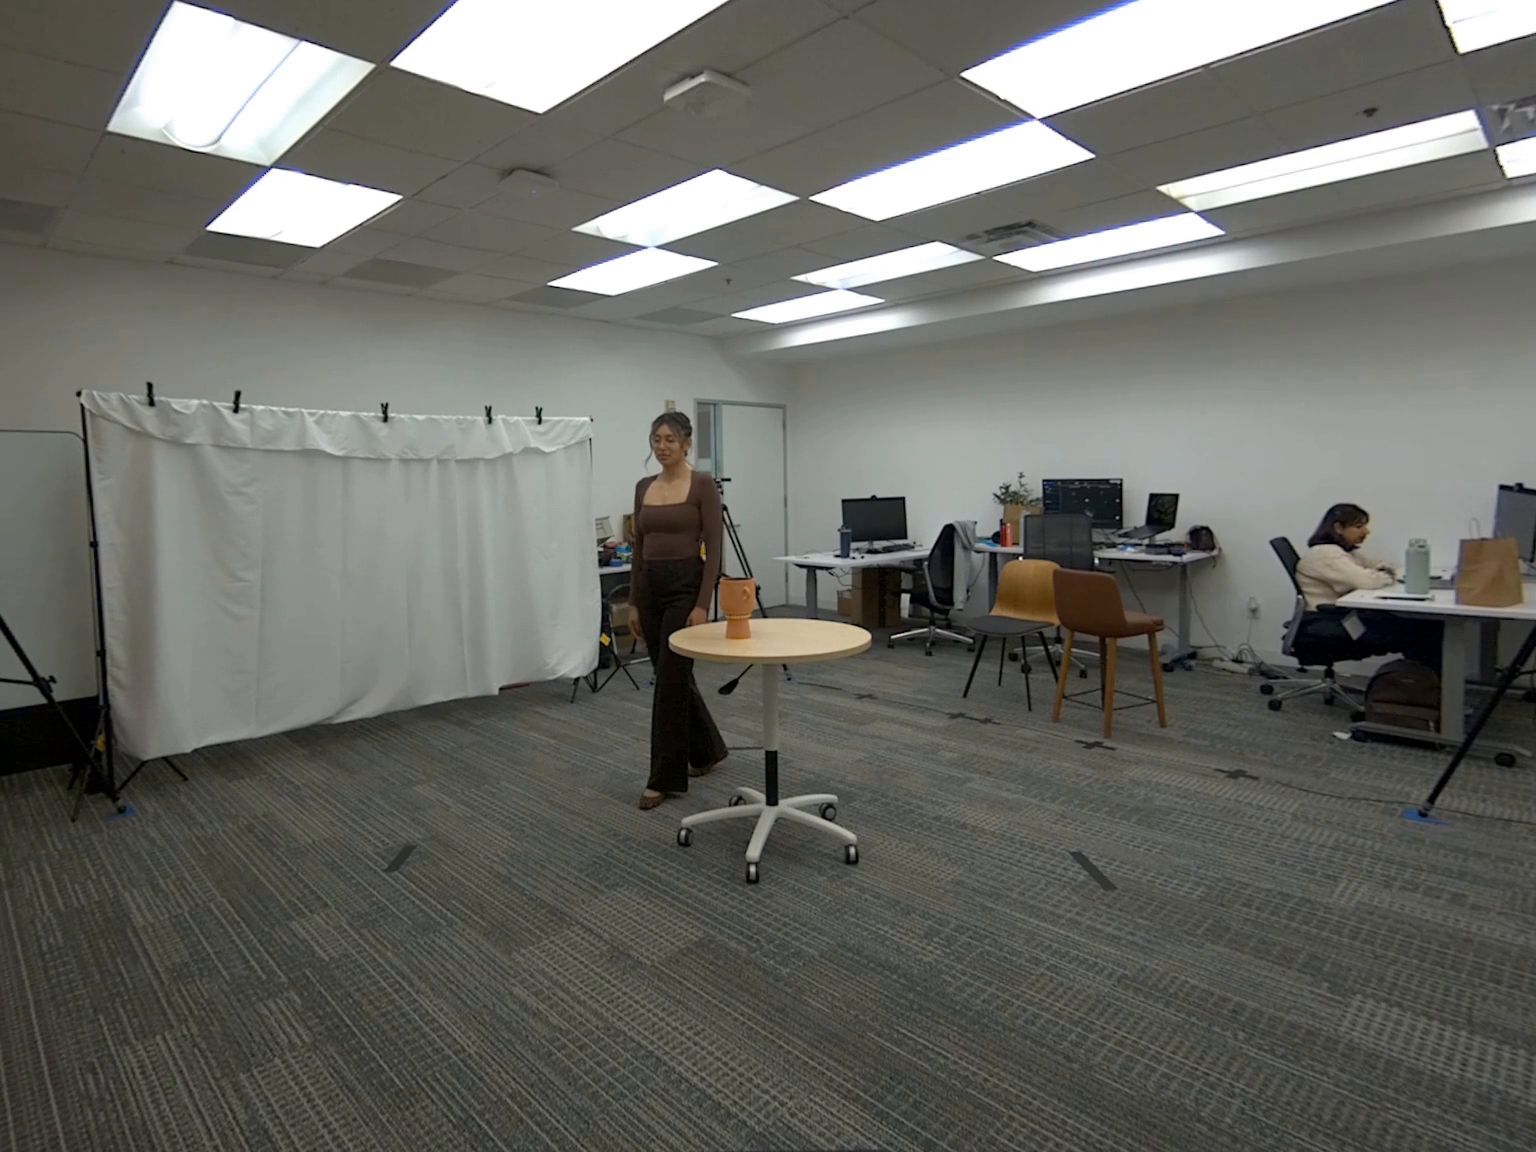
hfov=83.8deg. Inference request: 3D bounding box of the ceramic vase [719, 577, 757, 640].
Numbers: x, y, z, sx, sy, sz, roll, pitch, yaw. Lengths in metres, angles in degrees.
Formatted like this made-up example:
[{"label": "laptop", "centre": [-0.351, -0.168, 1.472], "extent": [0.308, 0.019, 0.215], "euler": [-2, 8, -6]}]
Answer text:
[{"label": "ceramic vase", "centre": [-0.115, 0.125, 3.231], "extent": [0.136, 0.219, 0.157], "euler": [-2, 4, 12]}]
